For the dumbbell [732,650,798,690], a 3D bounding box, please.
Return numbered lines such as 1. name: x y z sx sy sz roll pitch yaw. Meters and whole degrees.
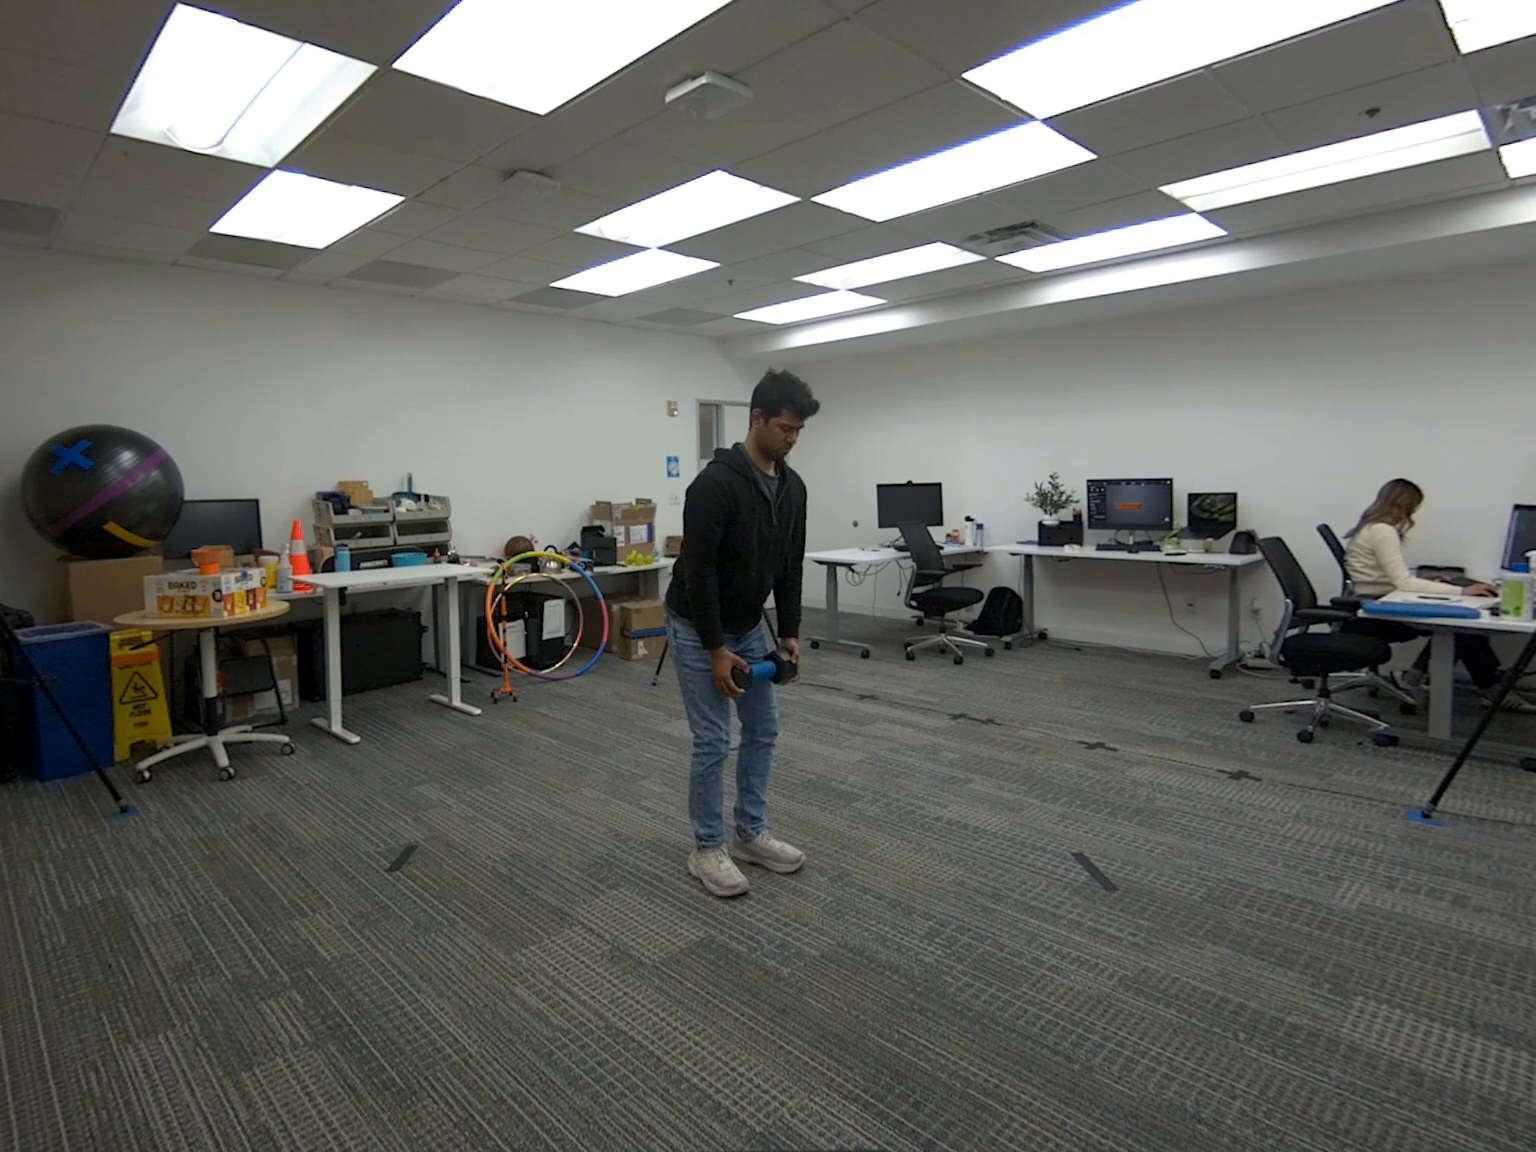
1. dumbbell: -0.042 0.332 2.948 0.286 0.111 0.123 -7 -21 -40
